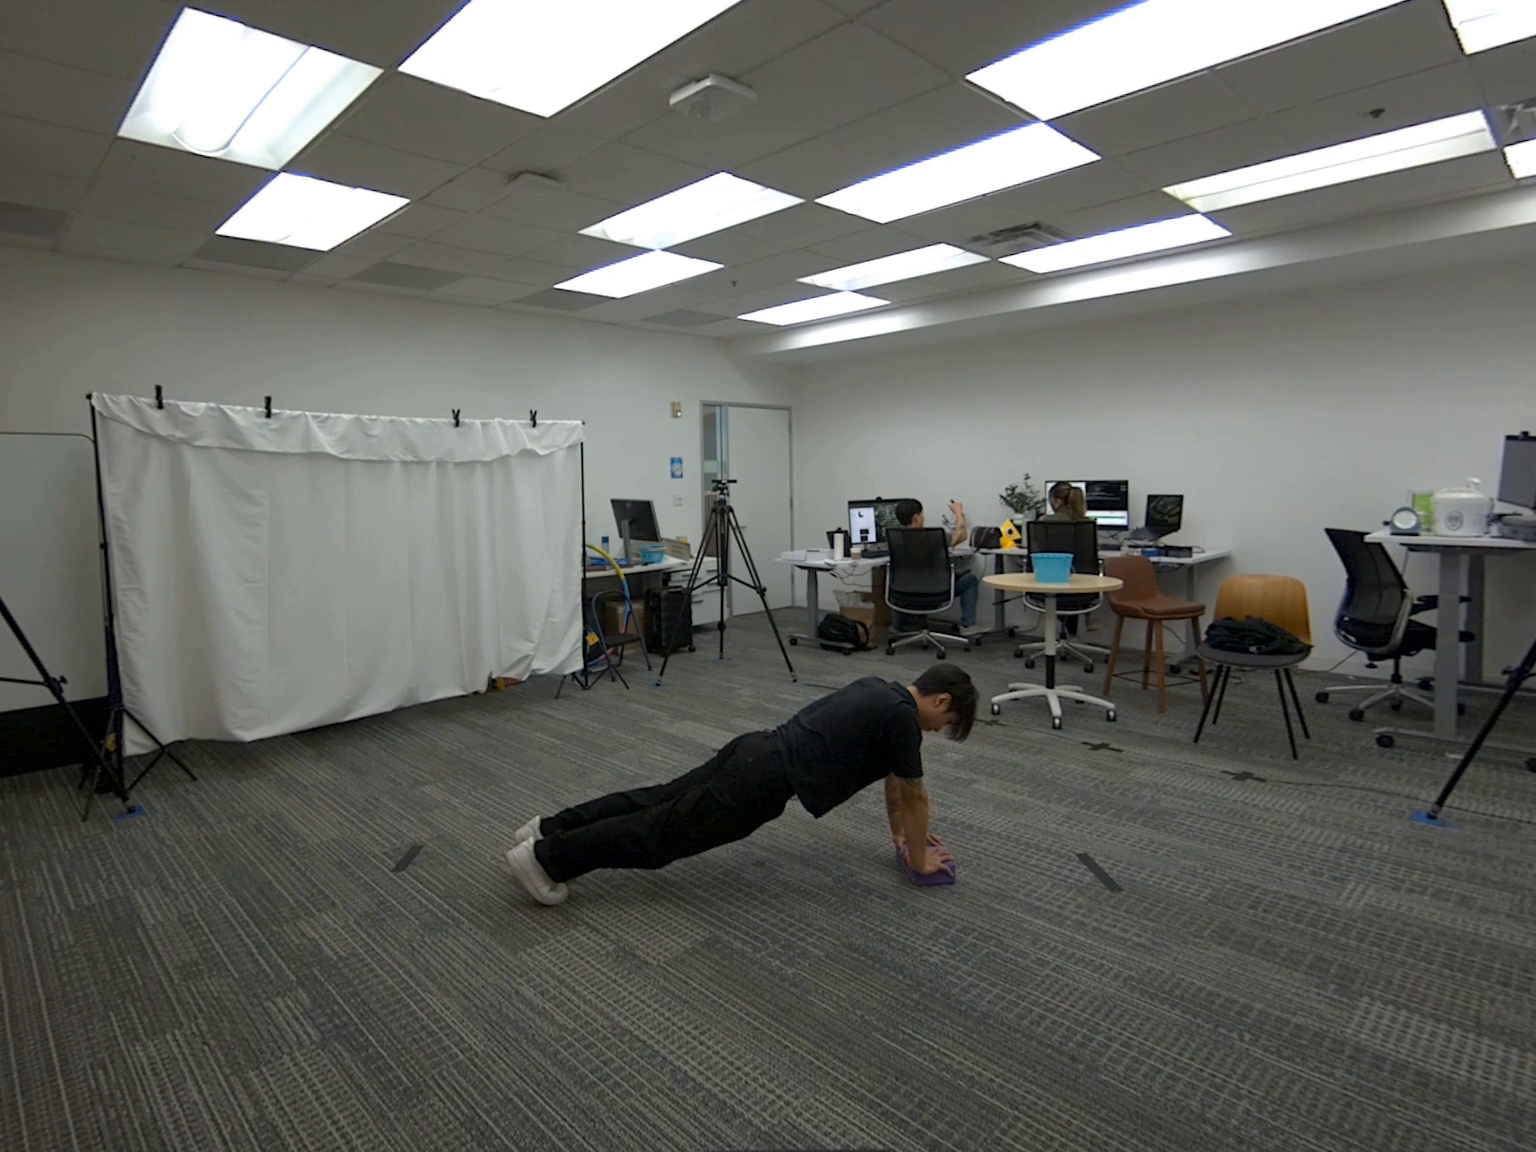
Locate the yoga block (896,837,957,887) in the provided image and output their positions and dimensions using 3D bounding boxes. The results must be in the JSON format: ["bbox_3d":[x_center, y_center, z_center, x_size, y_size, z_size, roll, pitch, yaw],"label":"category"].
[{"bbox_3d":[0.553,1.002,3.025,0.148,0.076,0.231,-2,5,-7],"label":"yoga block"}]
